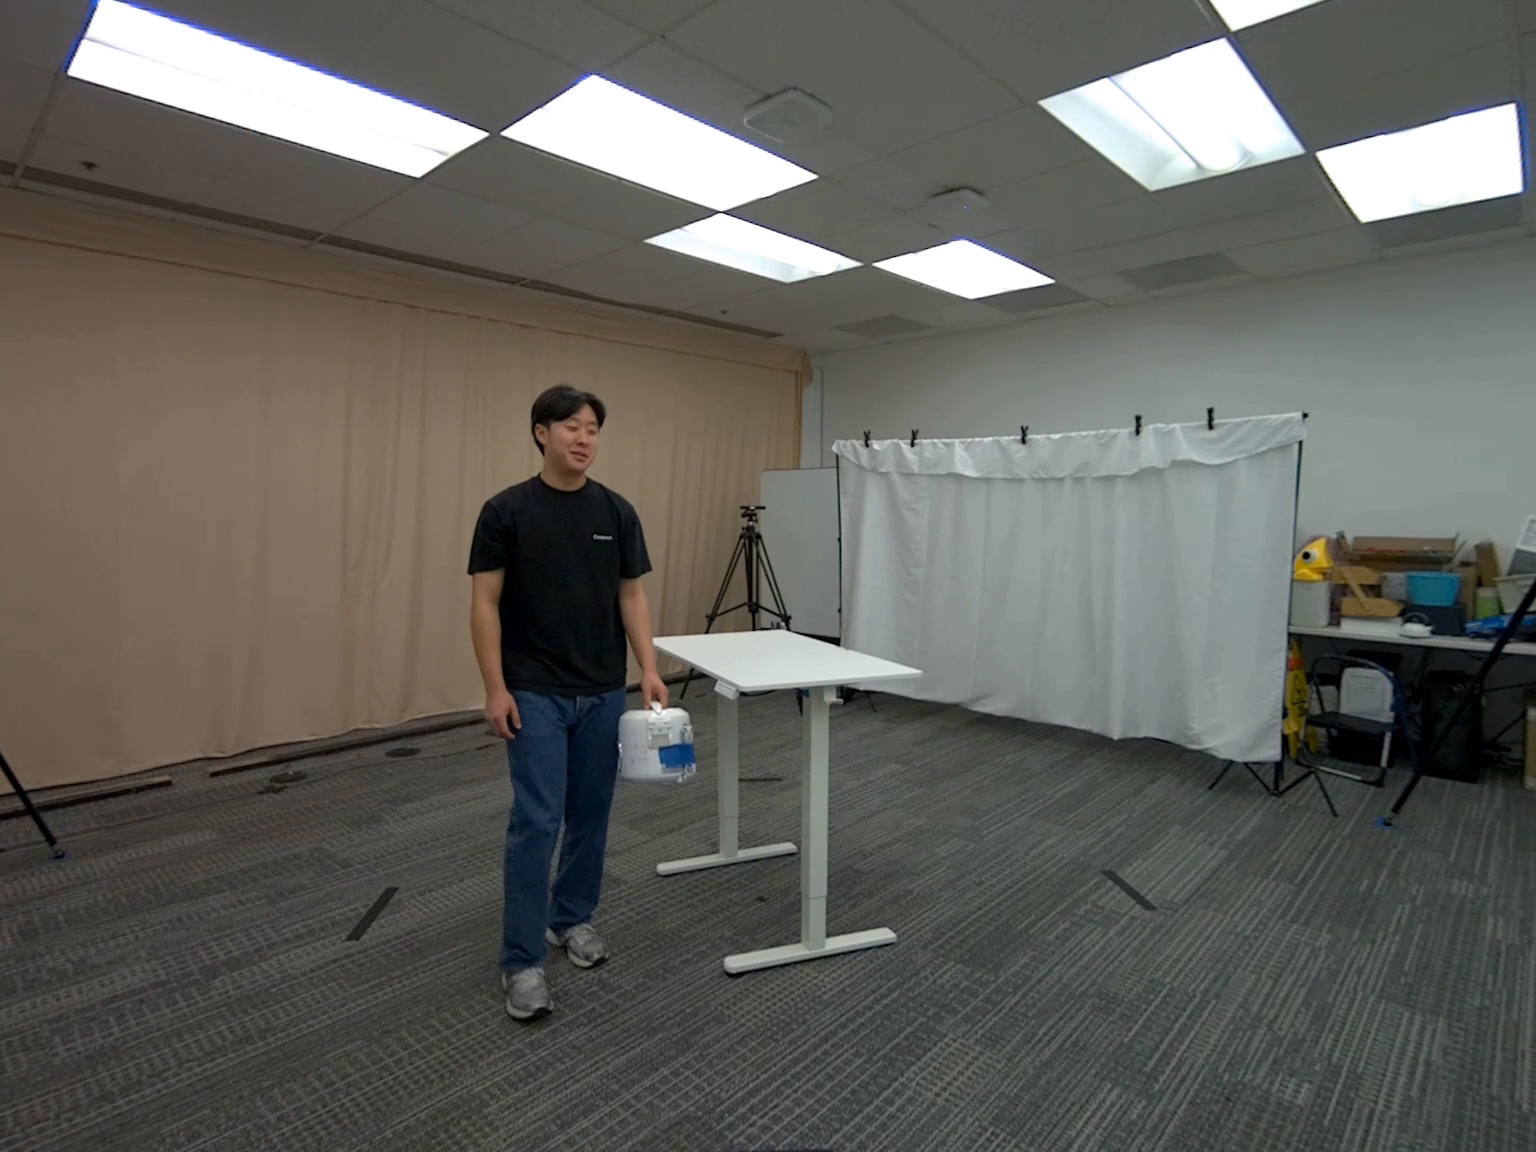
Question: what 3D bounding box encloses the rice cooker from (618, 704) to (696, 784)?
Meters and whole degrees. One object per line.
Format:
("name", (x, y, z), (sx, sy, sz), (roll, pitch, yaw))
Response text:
("rice cooker", (-0.345, 0.491, 2.460), (0.214, 0.234, 0.222), (-1, -8, -14))
